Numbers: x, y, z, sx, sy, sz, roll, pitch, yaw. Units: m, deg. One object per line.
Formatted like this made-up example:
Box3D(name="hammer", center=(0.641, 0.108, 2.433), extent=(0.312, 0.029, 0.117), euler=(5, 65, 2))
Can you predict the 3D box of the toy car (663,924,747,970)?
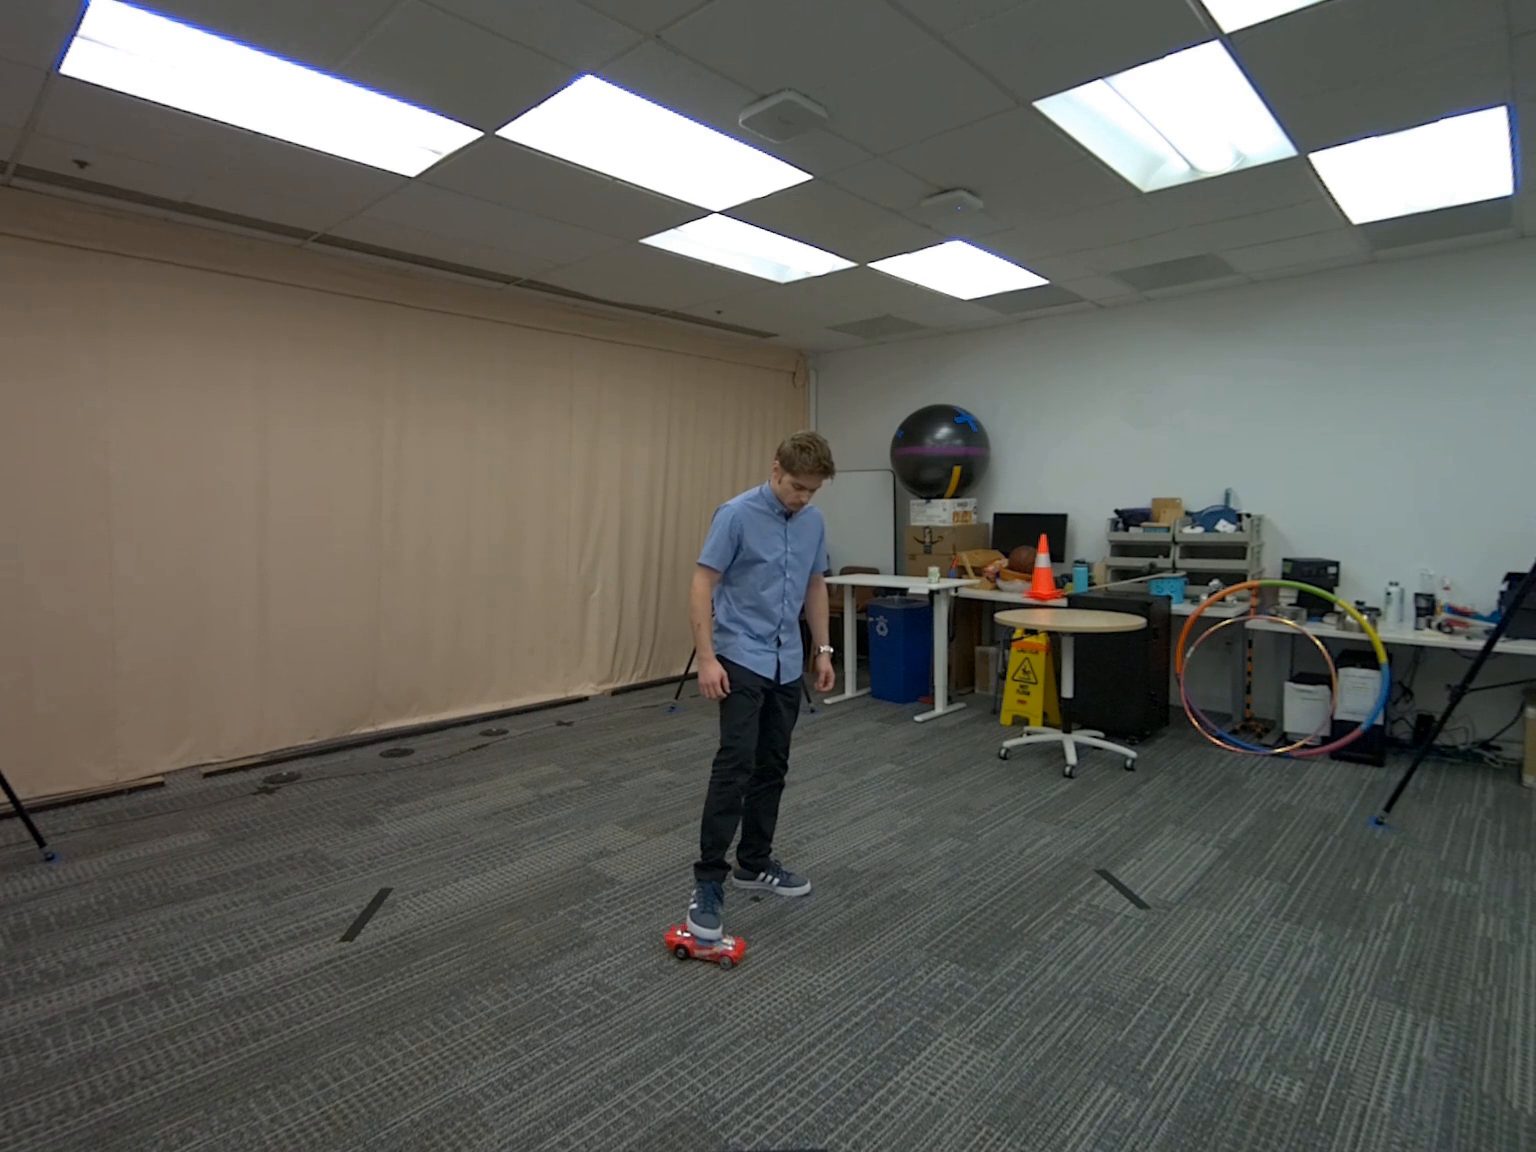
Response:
Box3D(name="toy car", center=(-0.195, 1.147, 2.612), extent=(0.260, 0.083, 0.128), euler=(12, 7, 19))
